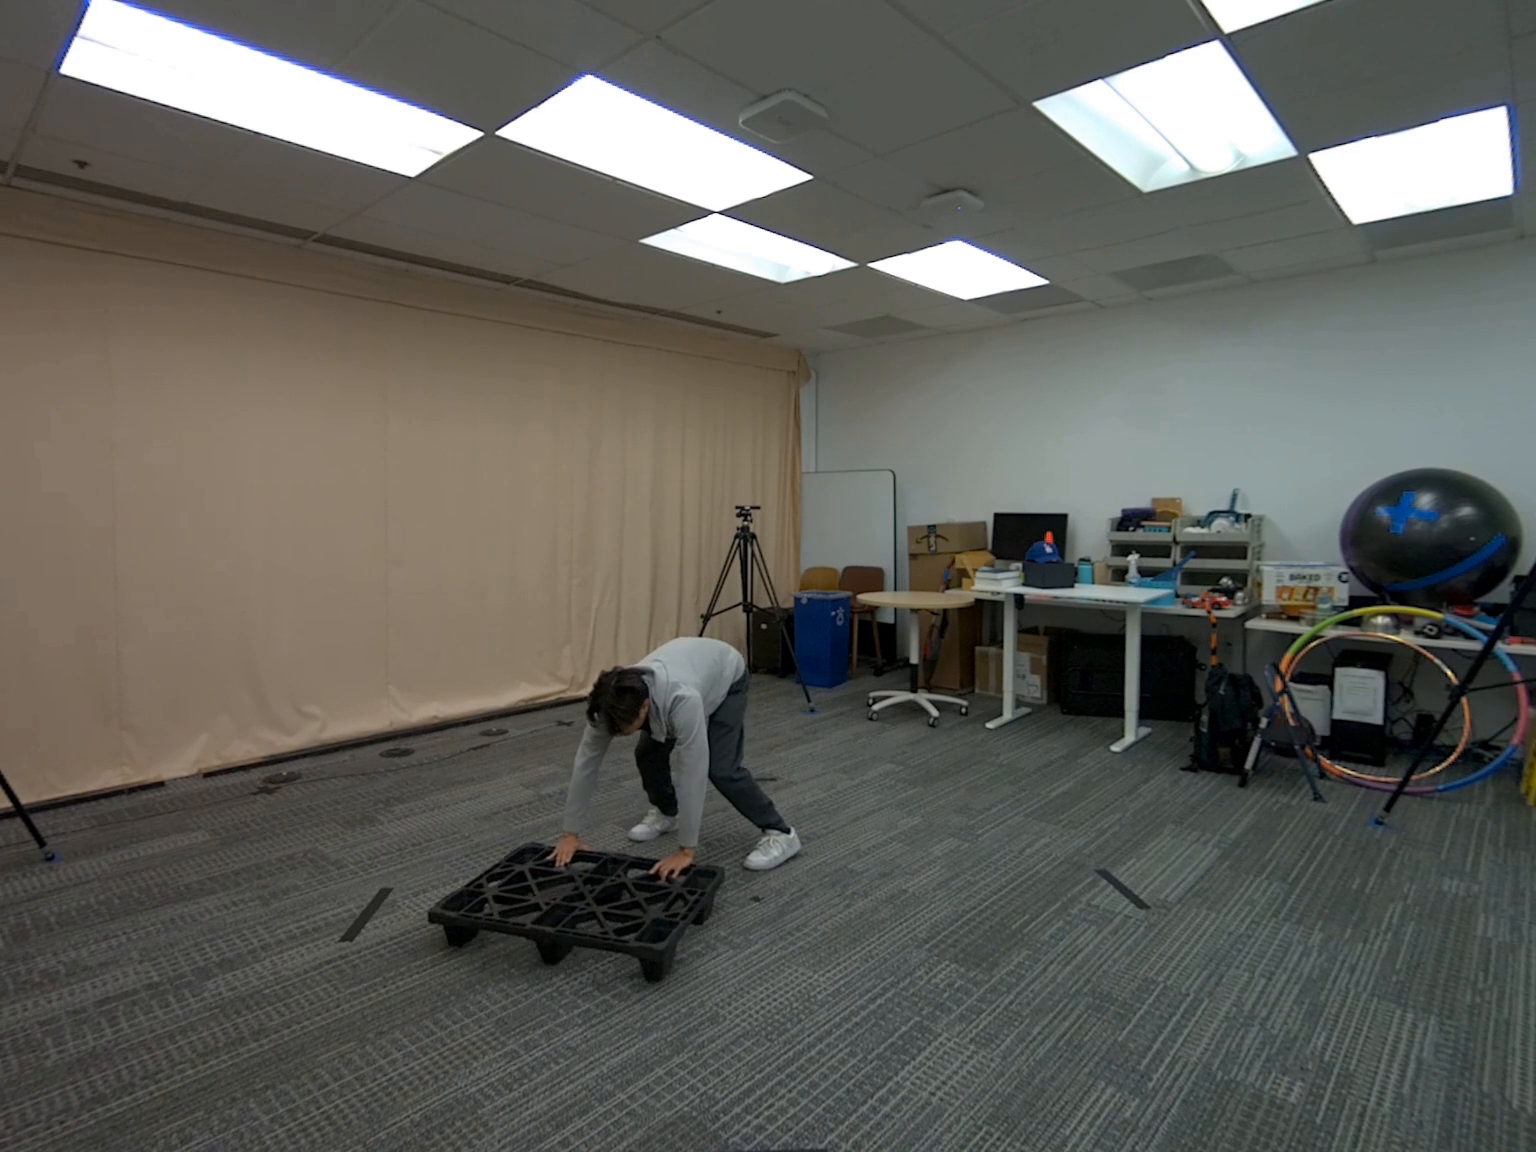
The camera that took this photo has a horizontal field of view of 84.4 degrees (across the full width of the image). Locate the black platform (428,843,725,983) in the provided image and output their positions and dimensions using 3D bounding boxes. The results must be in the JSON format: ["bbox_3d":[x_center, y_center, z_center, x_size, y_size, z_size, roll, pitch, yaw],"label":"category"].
[{"bbox_3d":[-0.602,1.095,2.778,0.821,0.143,0.595,1,5,17],"label":"black platform"}]
